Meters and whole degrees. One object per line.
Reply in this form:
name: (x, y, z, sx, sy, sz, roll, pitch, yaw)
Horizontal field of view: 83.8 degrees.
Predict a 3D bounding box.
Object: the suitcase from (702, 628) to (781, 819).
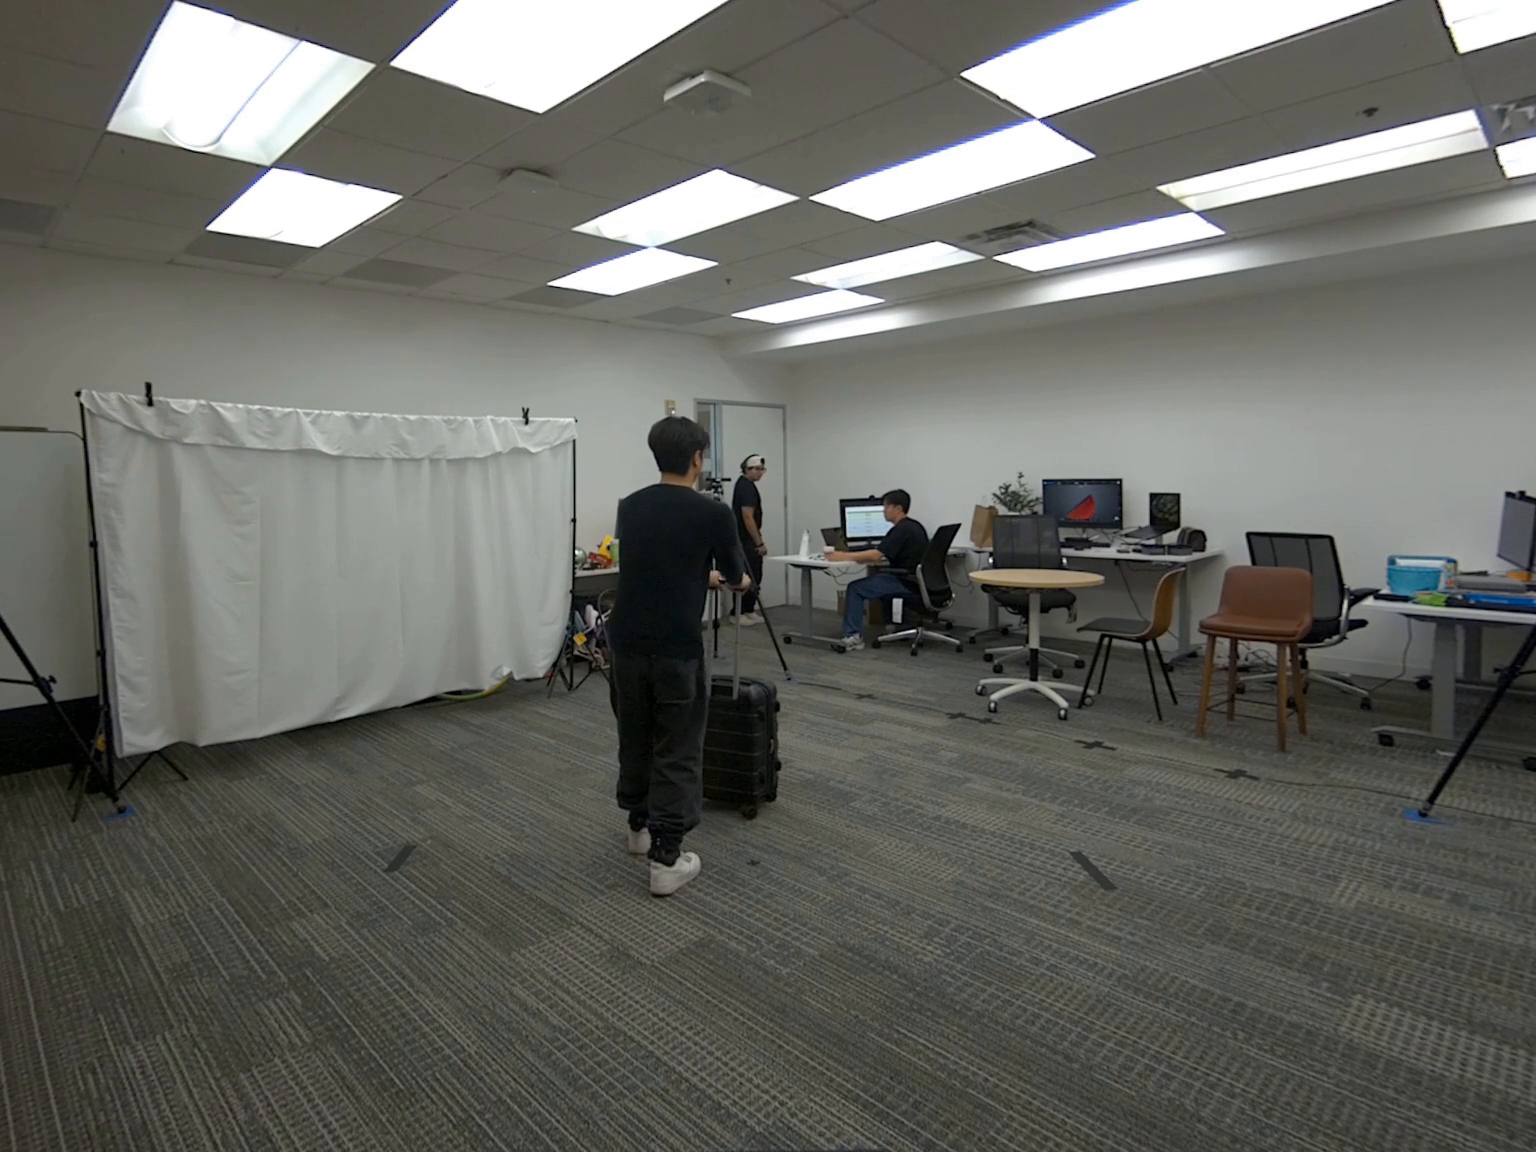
suitcase: (-0.146, 0.506, 3.679, 0.393, 0.978, 0.251, 2, 0, 26)
